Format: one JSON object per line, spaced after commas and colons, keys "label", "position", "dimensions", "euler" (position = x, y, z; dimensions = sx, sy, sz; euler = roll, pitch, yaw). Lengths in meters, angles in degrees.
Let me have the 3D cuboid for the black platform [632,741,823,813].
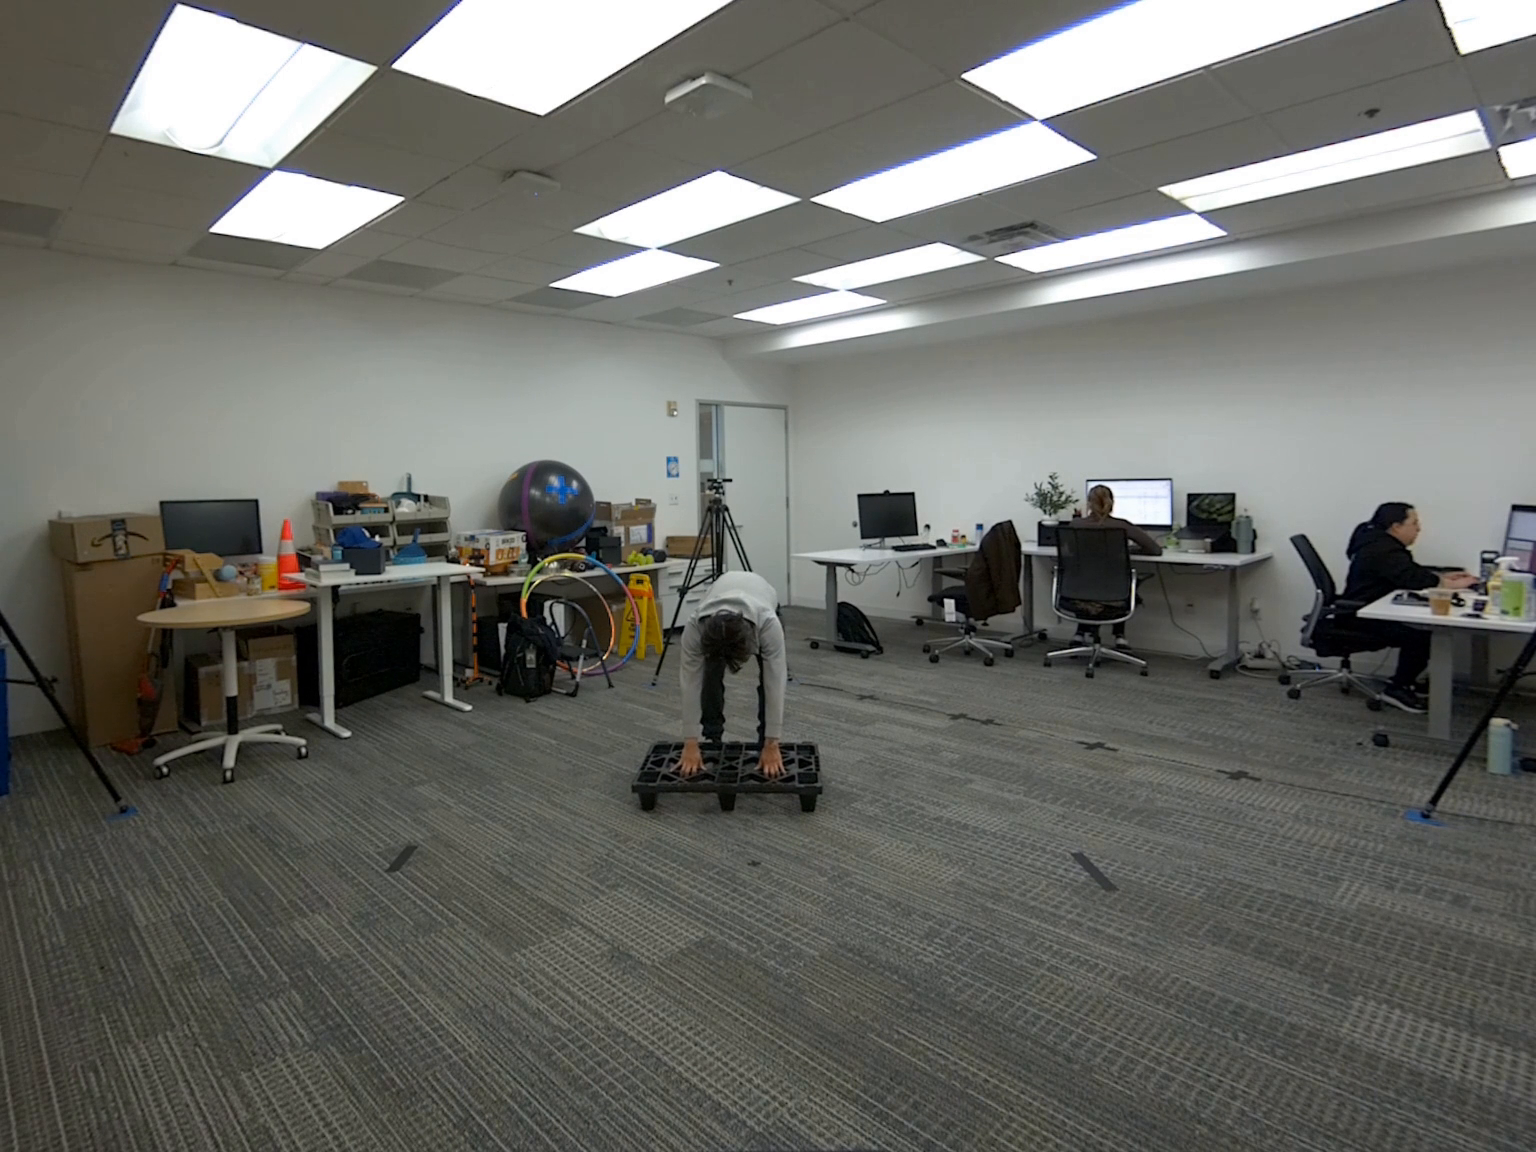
{"label": "black platform", "position": [-0.170, 0.897, 3.834], "dimensions": [0.809, 0.143, 0.605], "euler": [-1, 5, 4]}
